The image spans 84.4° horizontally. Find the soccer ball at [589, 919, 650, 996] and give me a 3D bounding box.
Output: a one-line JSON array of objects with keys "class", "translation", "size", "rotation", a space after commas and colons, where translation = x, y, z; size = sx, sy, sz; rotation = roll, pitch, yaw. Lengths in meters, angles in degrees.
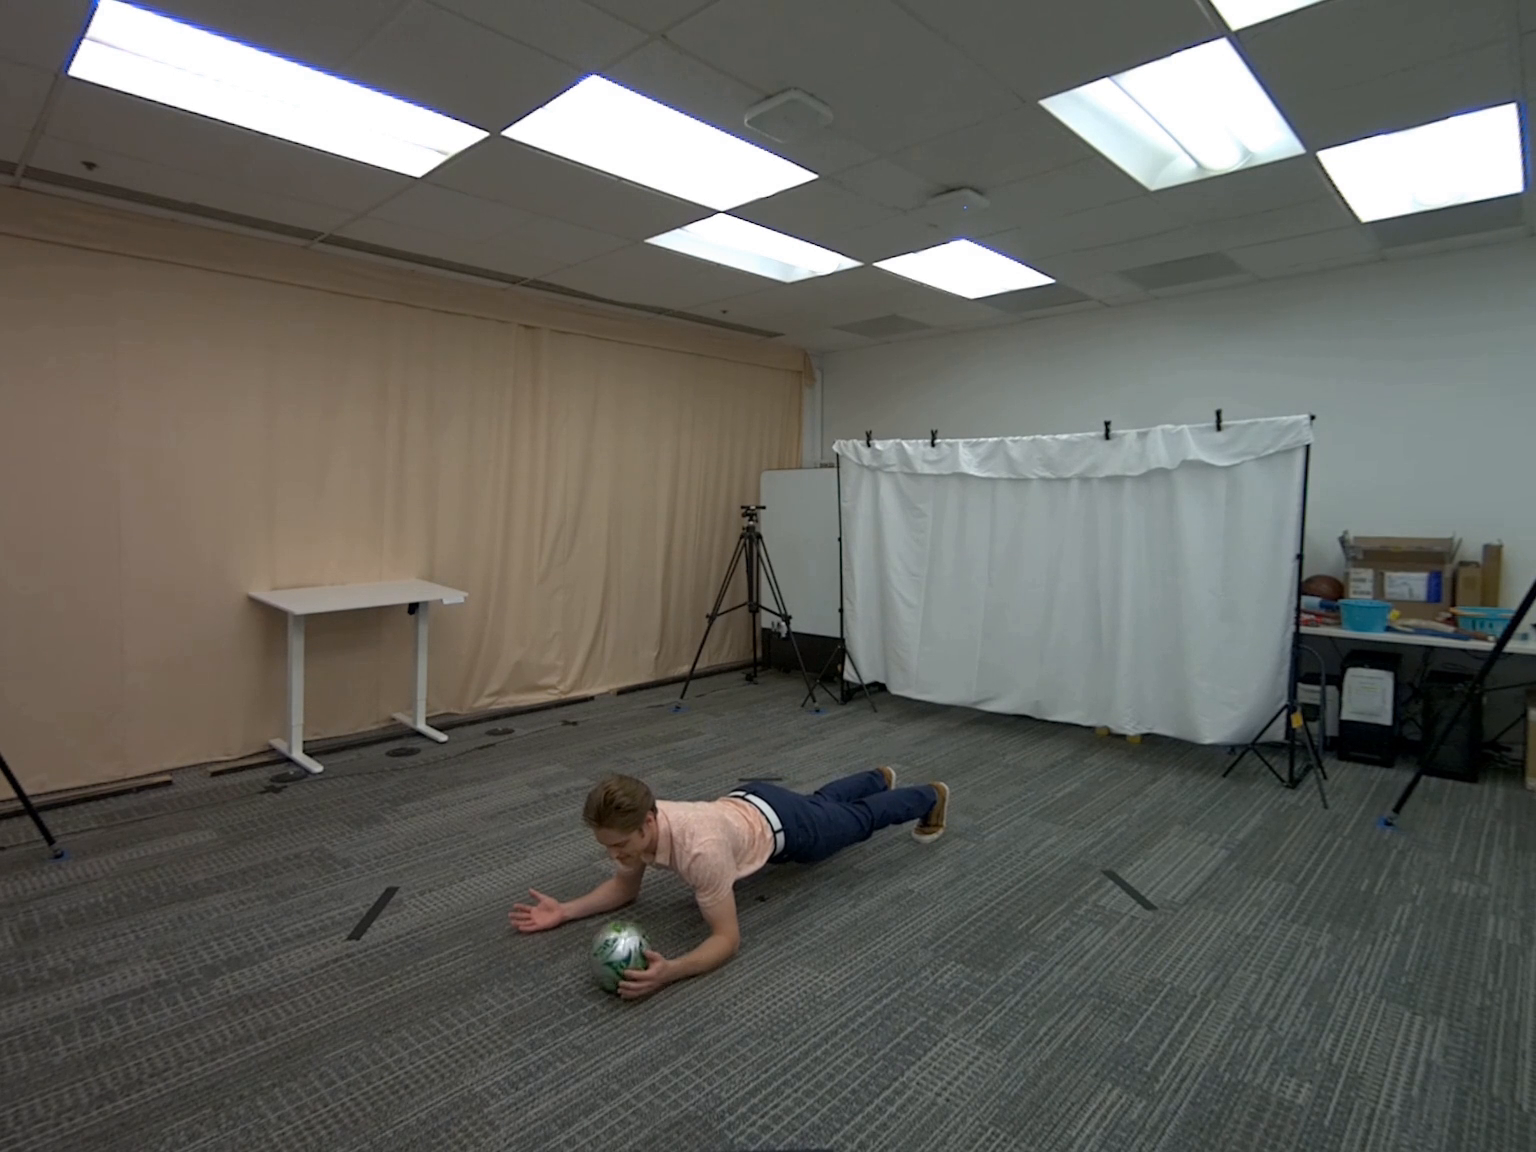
[{"class": "soccer ball", "translation": [-0.438, 1.100, 2.448], "size": [0.187, 0.187, 0.188], "rotation": [0, 4, -2]}]
